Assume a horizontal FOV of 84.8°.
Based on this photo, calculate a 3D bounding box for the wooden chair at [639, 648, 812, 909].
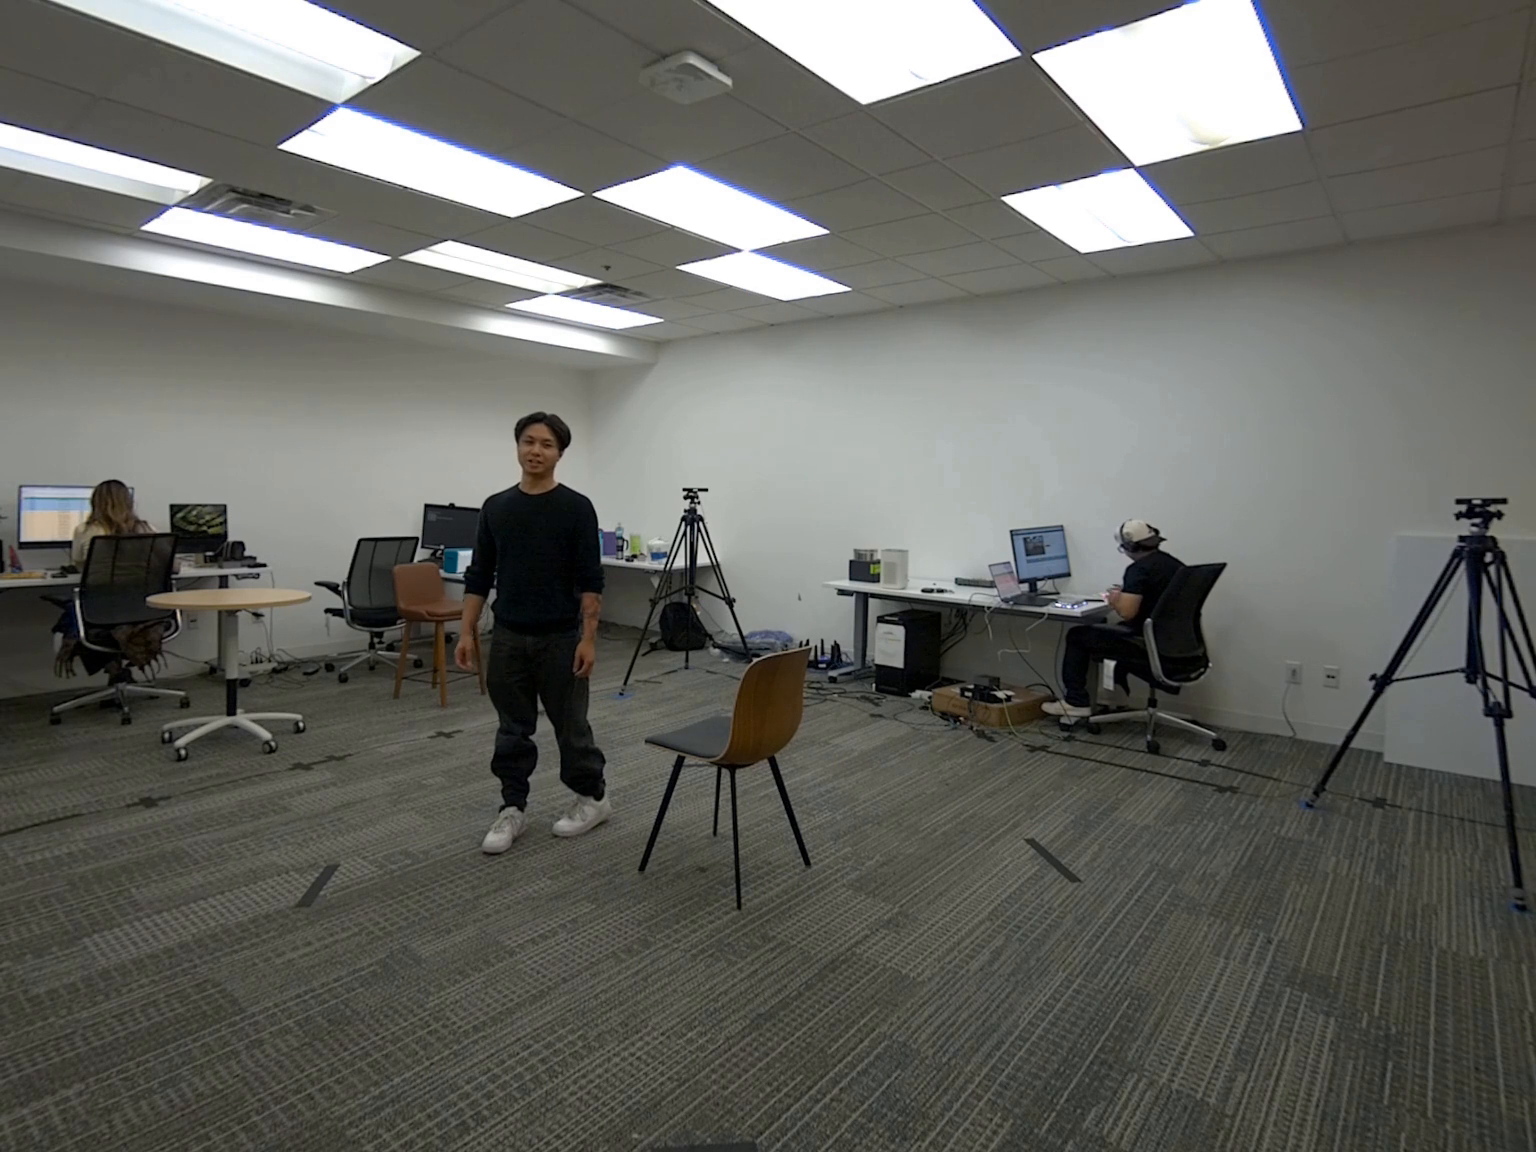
[{"bbox_3d":[-0.161,0.645,3.096,0.541,0.873,0.464,9,7,36],"label":"wooden chair"}]
